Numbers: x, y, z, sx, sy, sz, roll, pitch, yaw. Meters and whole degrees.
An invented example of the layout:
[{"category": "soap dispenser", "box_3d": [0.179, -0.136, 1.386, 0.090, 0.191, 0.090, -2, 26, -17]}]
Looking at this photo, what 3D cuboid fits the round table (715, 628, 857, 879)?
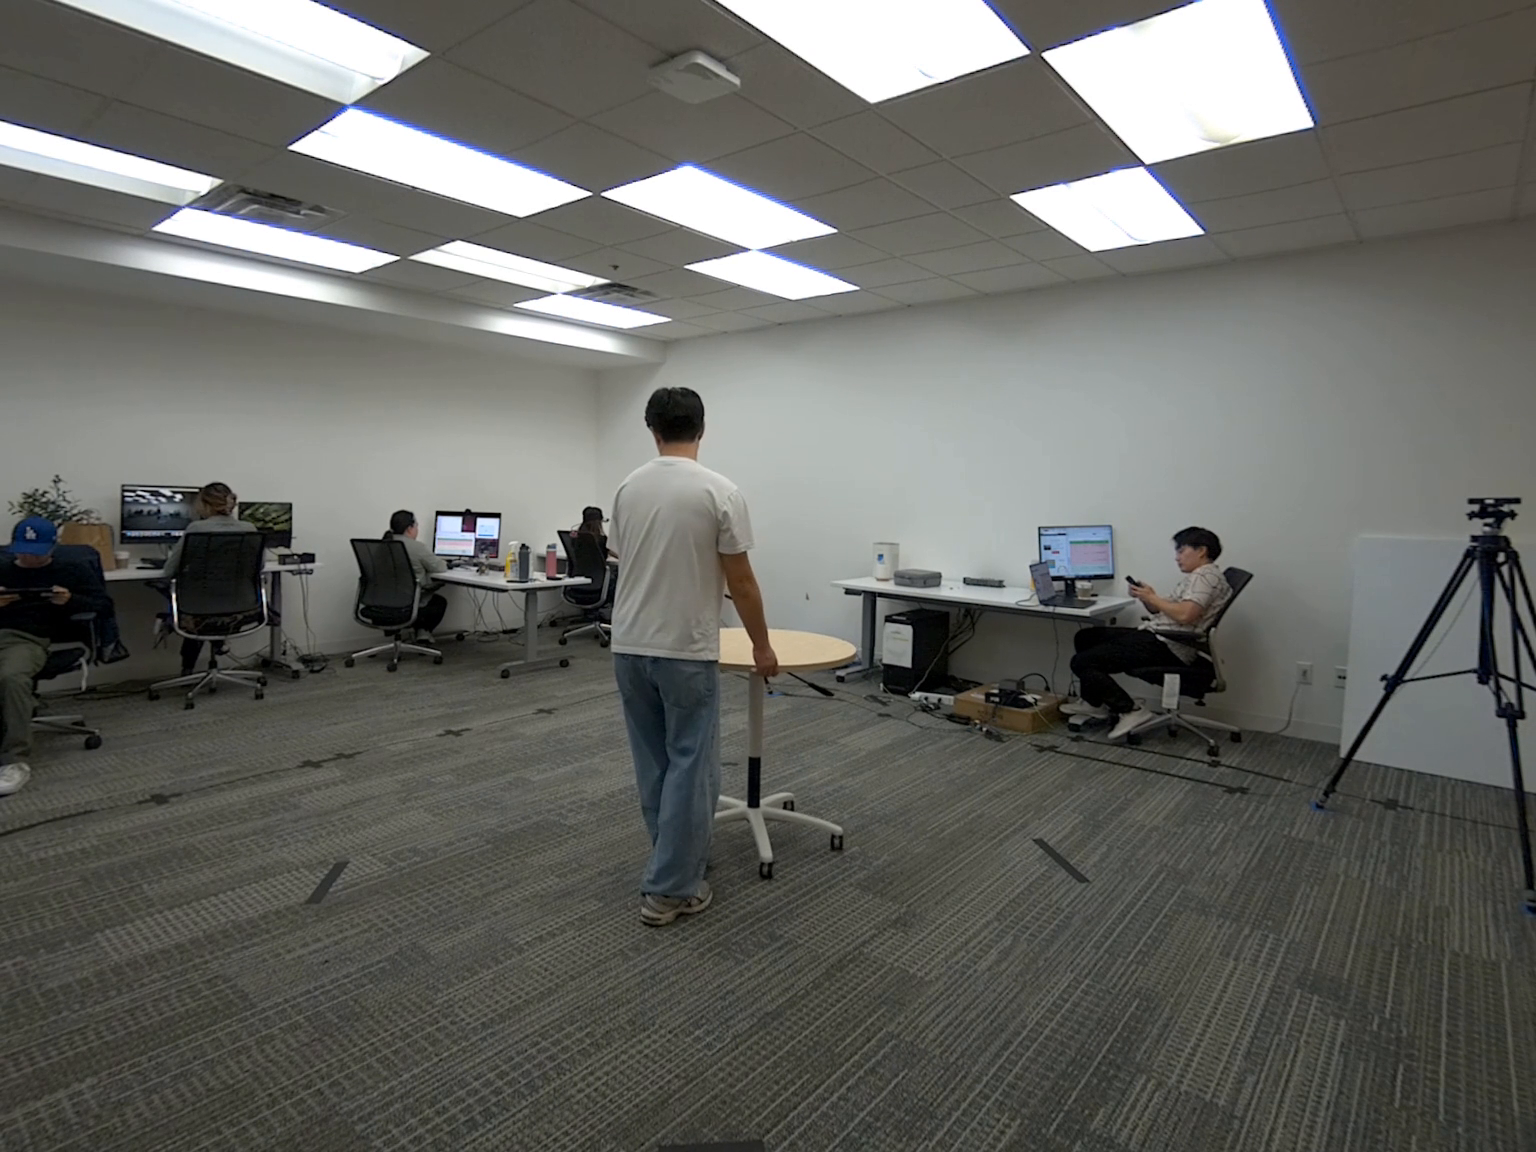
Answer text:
[{"category": "round table", "box_3d": [-0.059, 0.657, 3.340, 0.763, 0.791, 0.768, 1, 4, -2]}]
